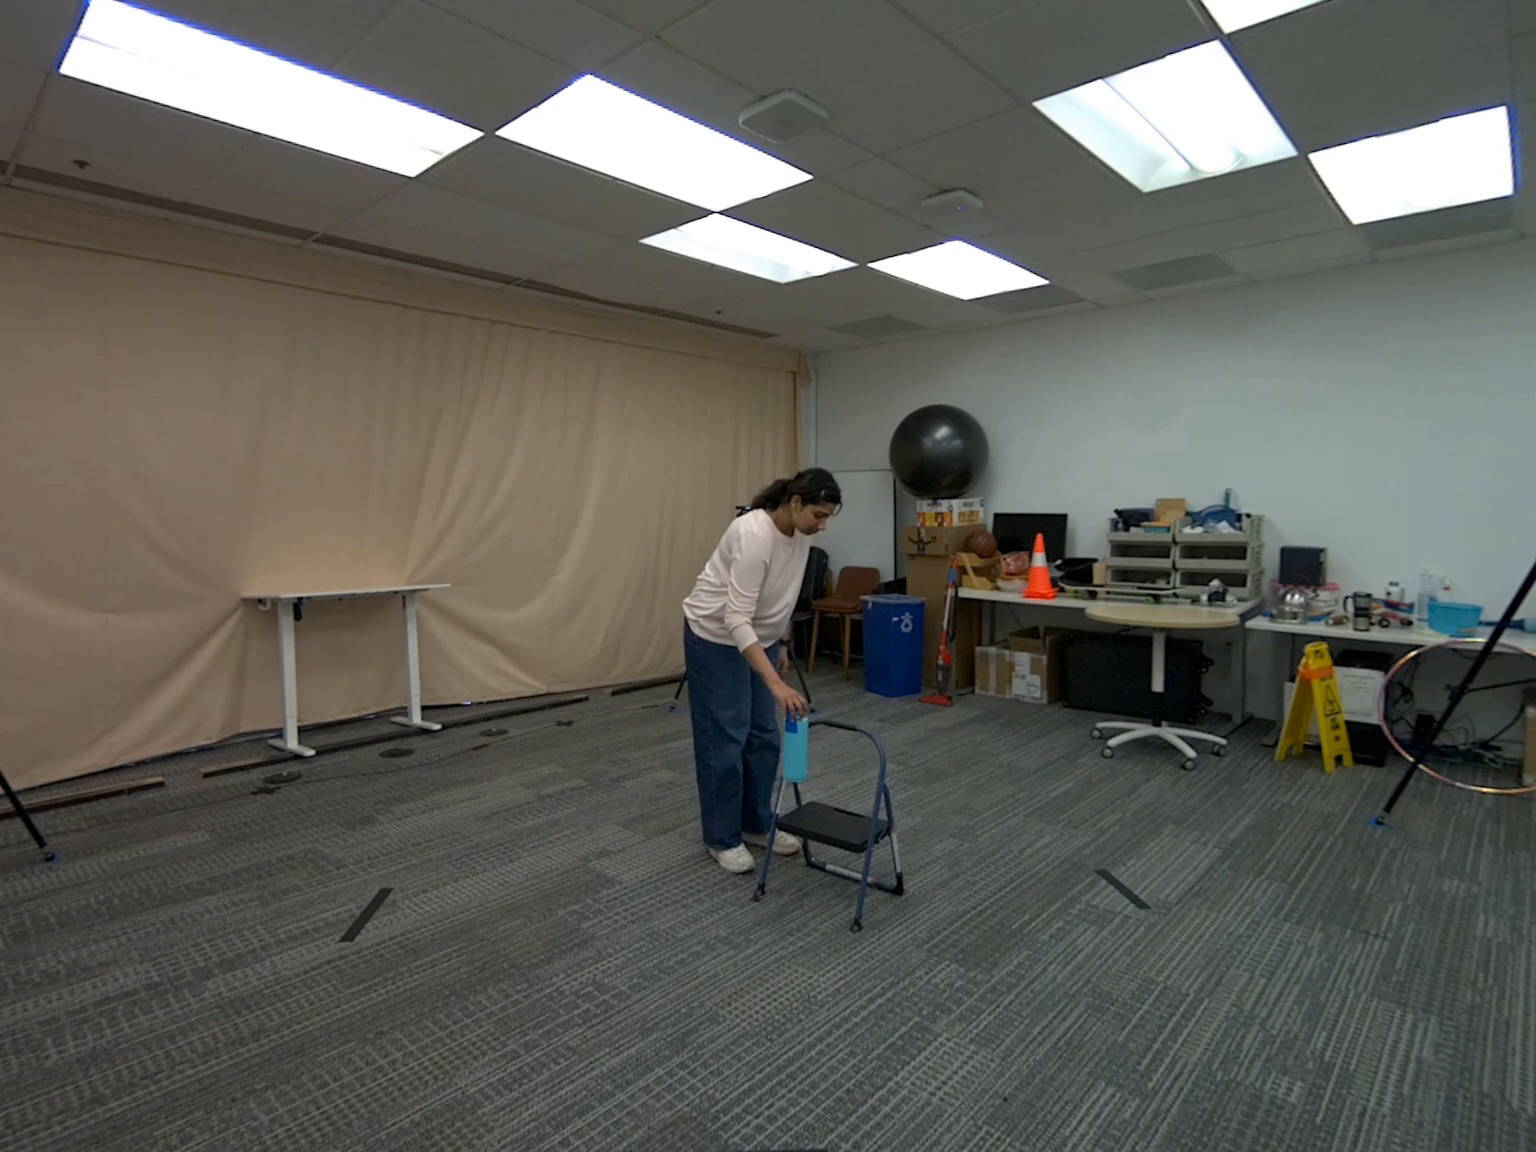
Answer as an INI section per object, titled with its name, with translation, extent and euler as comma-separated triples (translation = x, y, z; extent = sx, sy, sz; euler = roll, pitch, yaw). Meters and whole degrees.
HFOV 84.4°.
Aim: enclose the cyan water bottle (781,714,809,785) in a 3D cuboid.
[cyan water bottle]
translation = 0.106, 0.575, 2.995
extent = 0.092, 0.282, 0.093
euler = -1, 7, -2
